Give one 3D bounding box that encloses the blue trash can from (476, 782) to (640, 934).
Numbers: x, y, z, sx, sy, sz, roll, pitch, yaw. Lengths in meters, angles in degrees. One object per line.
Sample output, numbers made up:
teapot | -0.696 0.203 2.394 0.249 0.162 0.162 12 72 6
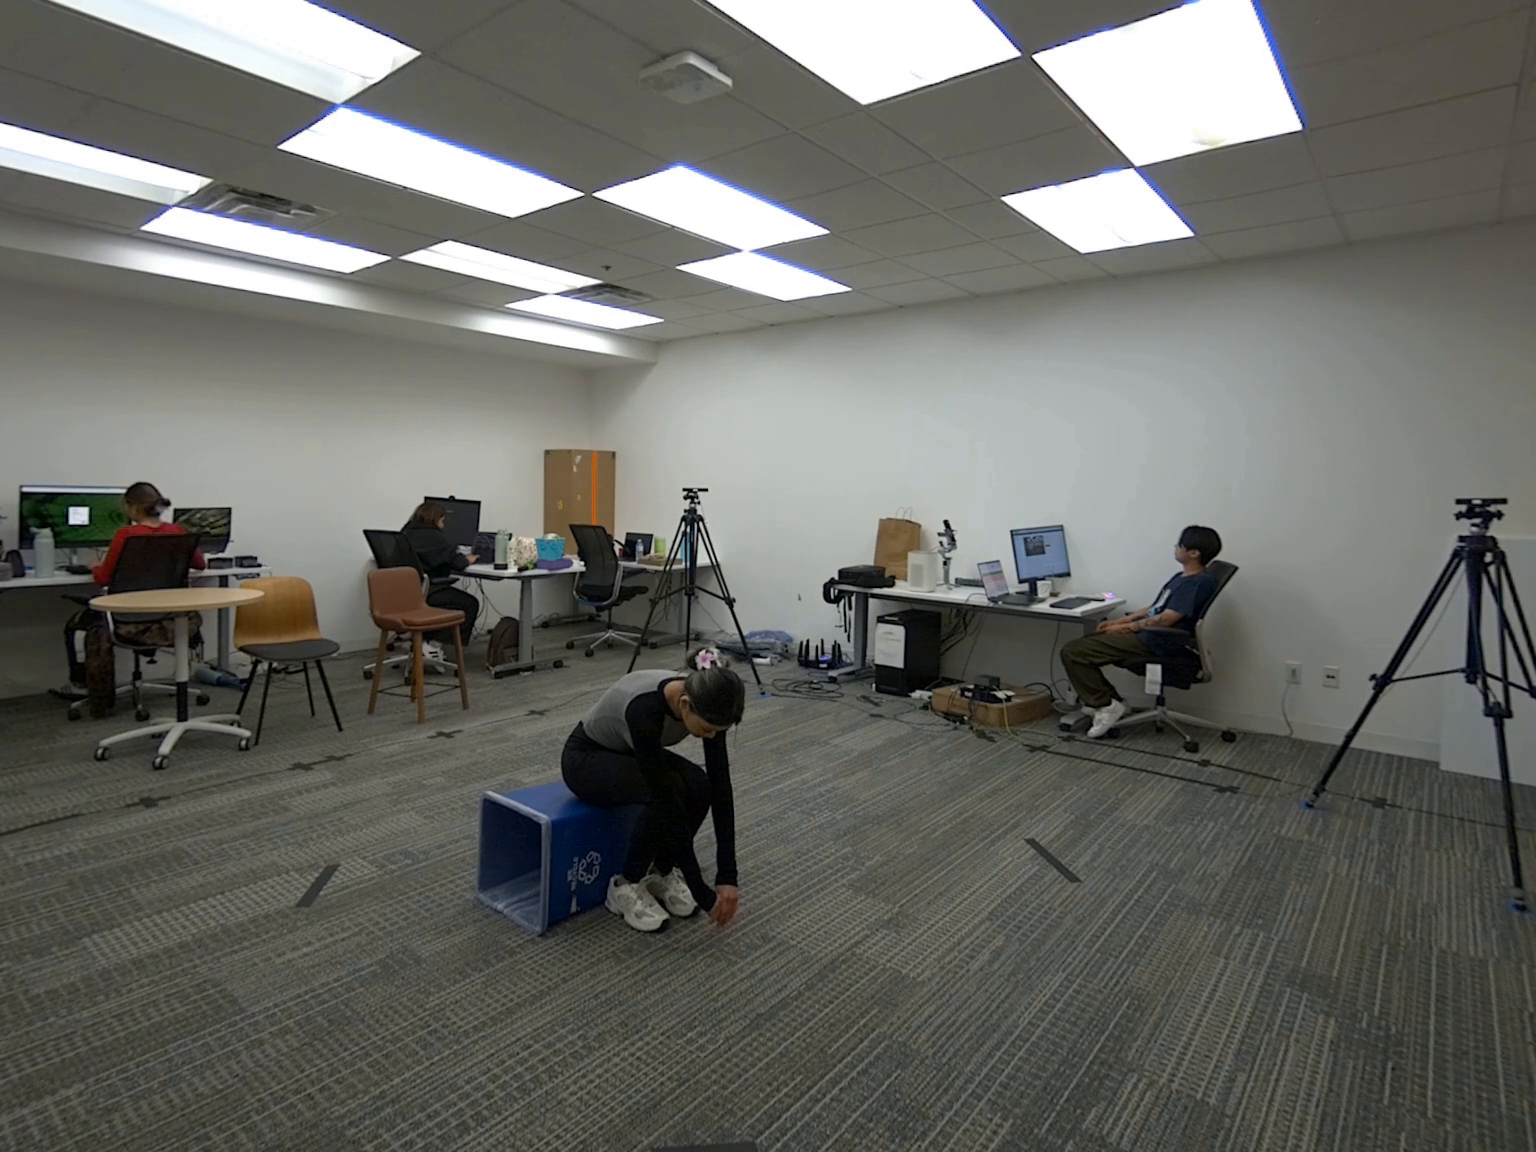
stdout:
blue trash can | -0.628 0.899 2.999 0.391 0.373 0.692 4 4 39
